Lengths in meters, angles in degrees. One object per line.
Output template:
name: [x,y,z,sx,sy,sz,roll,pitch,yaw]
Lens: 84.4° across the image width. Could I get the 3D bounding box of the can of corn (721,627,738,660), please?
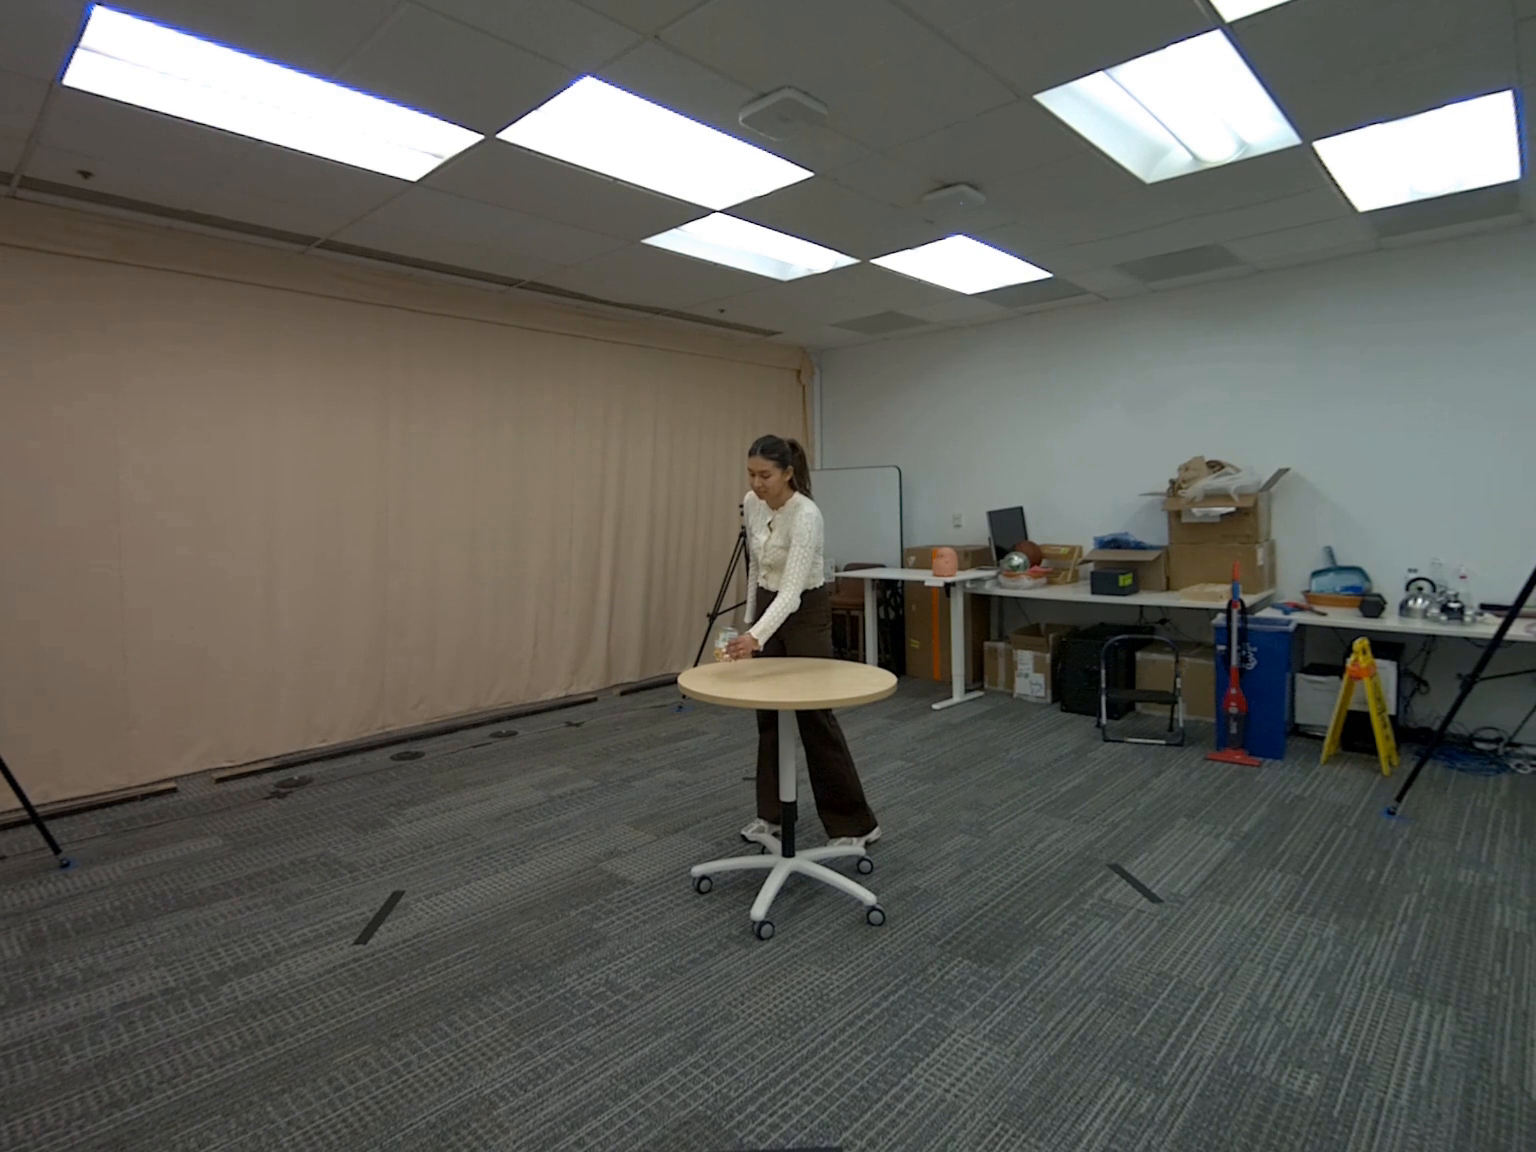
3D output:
can of corn: [-0.094,0.239,2.925,0.074,0.111,0.074,-1,2,-2]
